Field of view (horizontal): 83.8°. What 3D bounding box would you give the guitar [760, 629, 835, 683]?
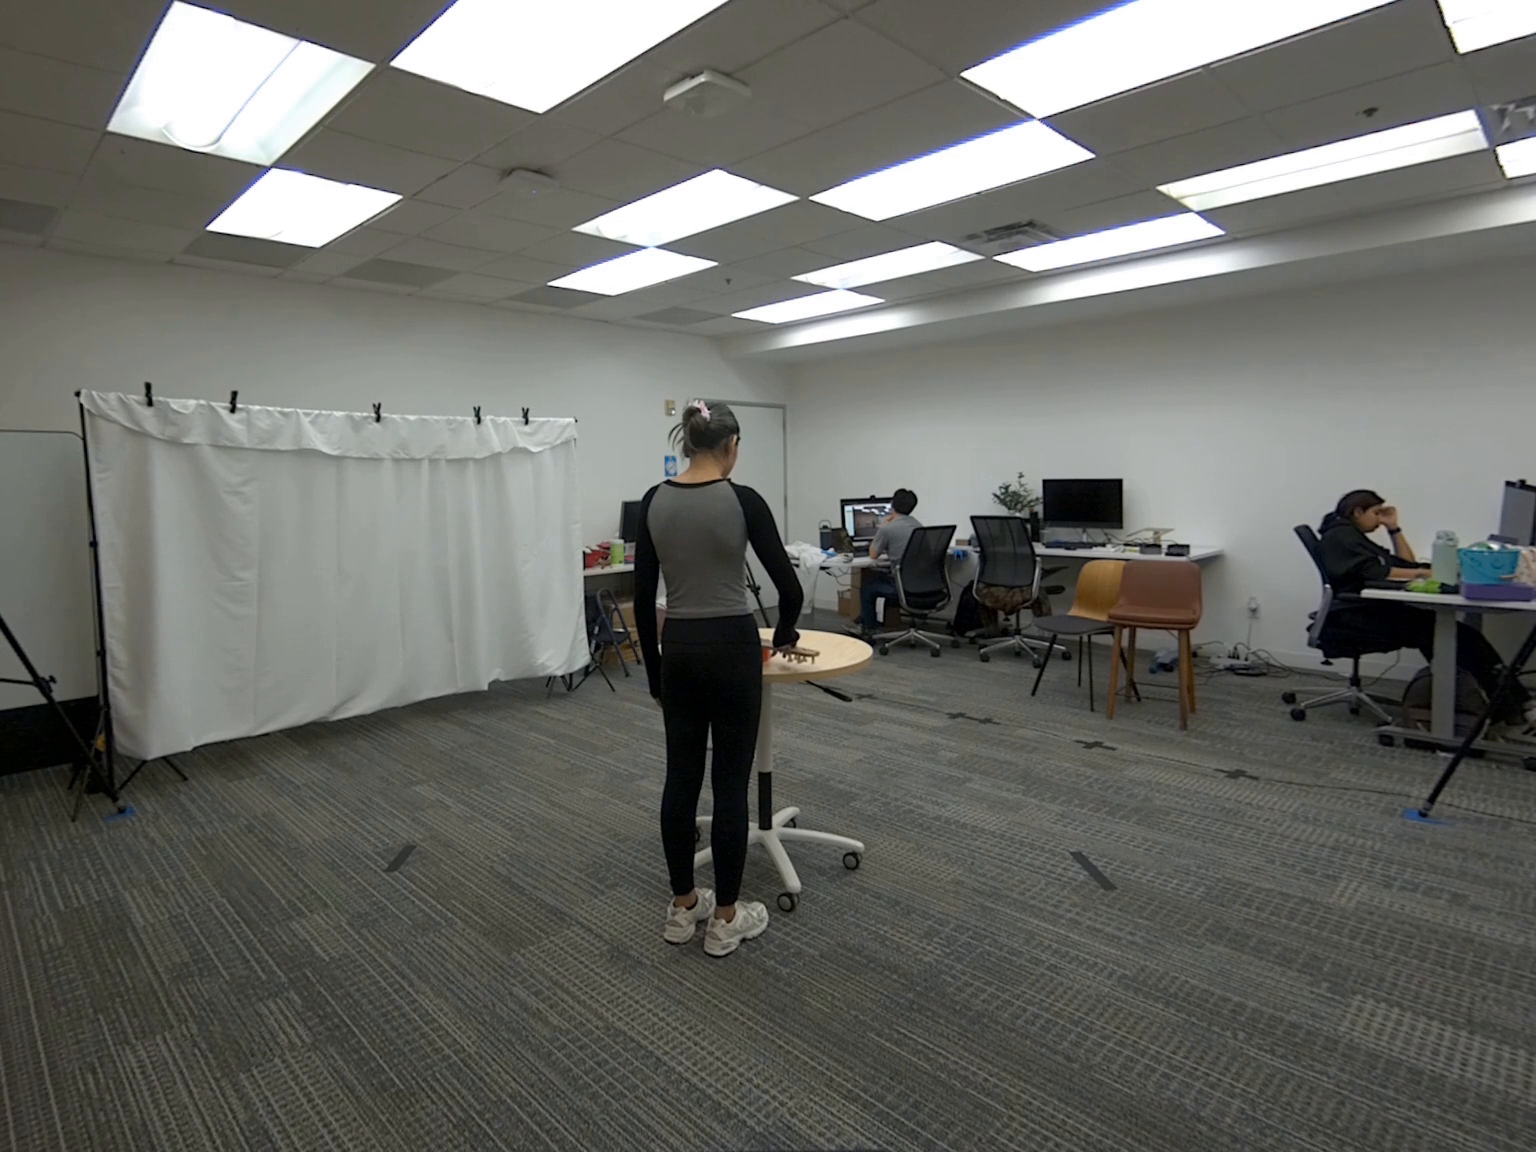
[{"bbox_3d":[-0.048,0.253,2.812,0.188,0.070,0.513,-6,8,-37],"label":"guitar"}]
